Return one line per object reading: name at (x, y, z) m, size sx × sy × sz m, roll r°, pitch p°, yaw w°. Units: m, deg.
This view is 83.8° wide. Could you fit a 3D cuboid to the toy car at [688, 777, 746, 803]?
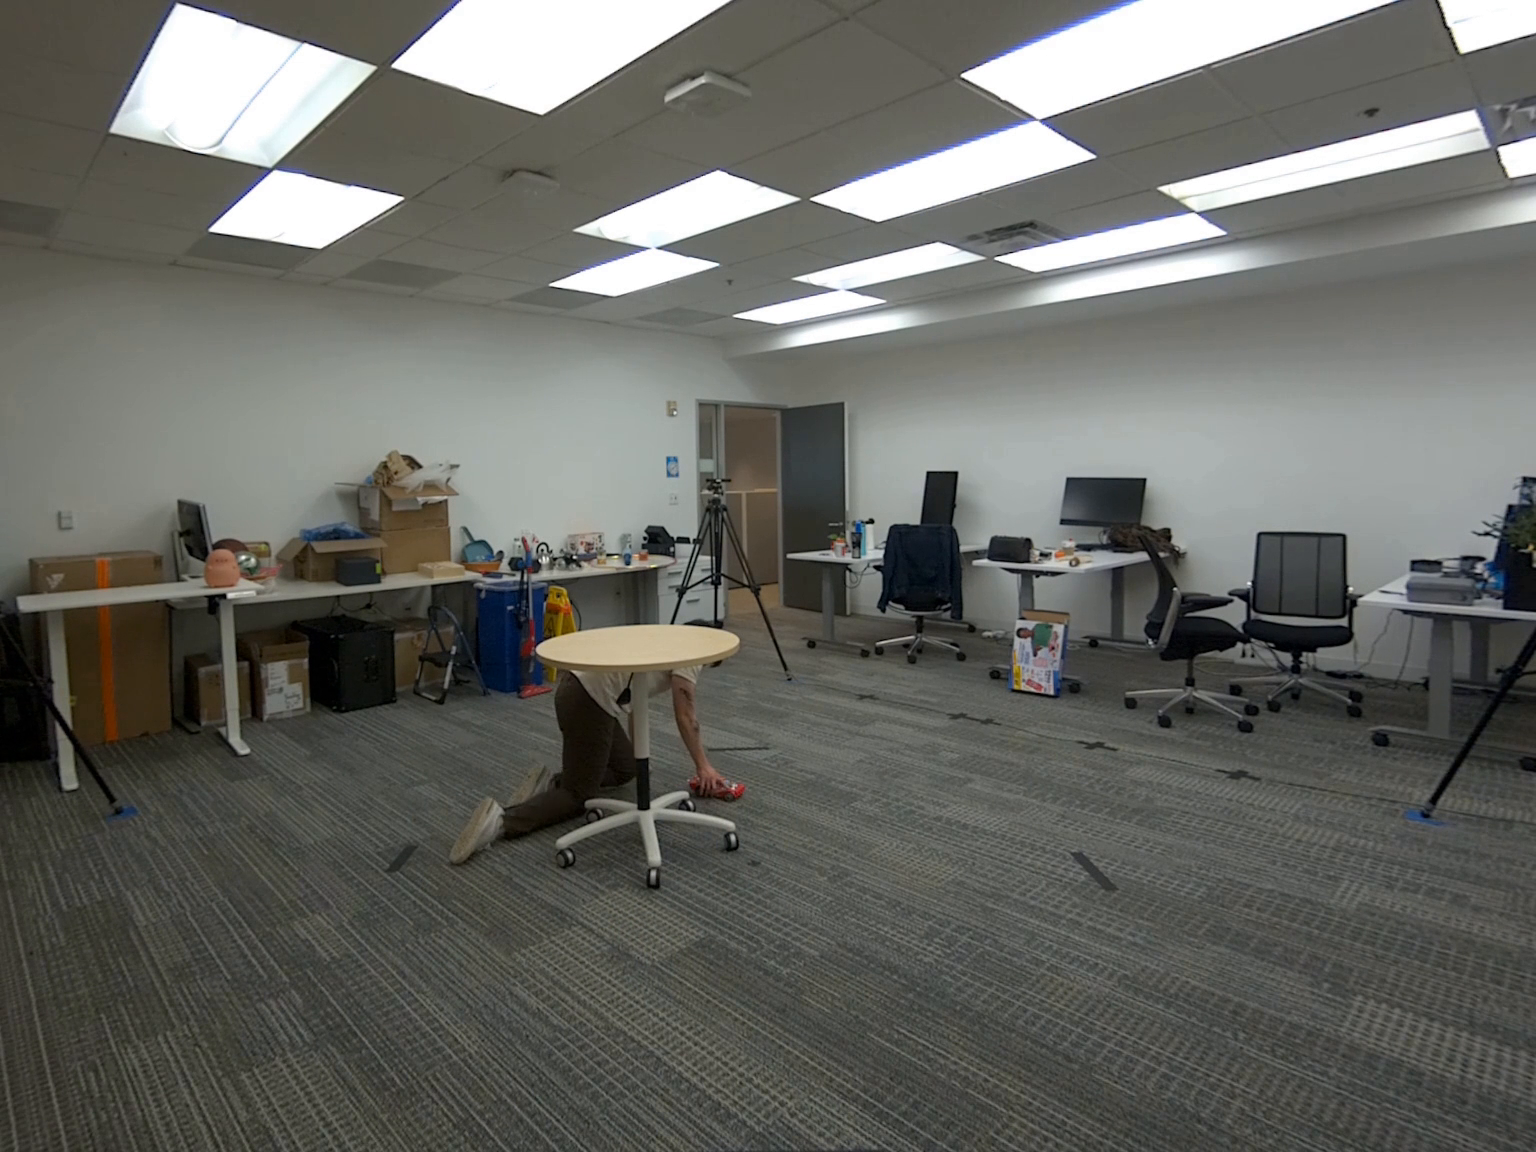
toy car at (-0.241, 0.938, 3.800) m, size 0.261 × 0.082 × 0.128 m, roll 13°, pitch 11°, yaw 24°
